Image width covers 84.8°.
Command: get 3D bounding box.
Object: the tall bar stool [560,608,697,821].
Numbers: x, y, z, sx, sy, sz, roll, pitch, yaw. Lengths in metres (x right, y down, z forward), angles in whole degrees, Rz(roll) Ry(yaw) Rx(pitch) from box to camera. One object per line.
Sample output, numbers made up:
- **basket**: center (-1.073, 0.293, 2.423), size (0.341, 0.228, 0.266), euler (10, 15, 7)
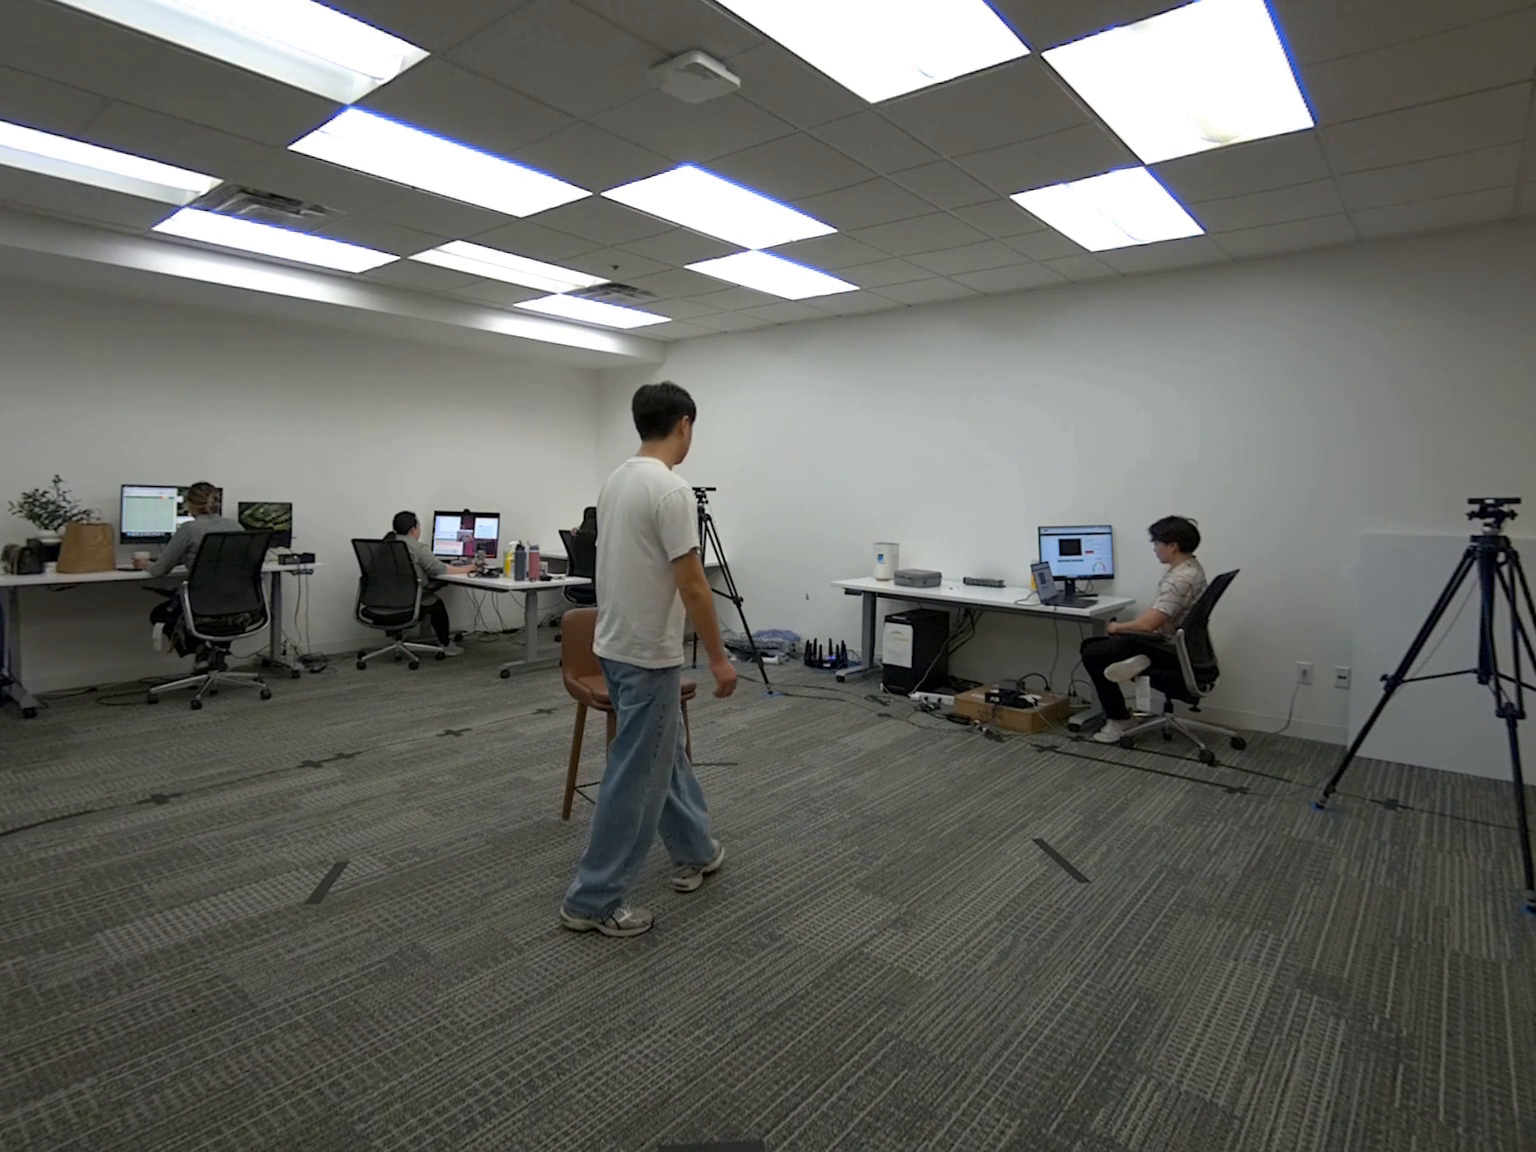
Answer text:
- **tall bar stool**: center (-0.588, 0.585, 3.461), size (0.443, 0.889, 0.482), euler (-1, 2, -37)
